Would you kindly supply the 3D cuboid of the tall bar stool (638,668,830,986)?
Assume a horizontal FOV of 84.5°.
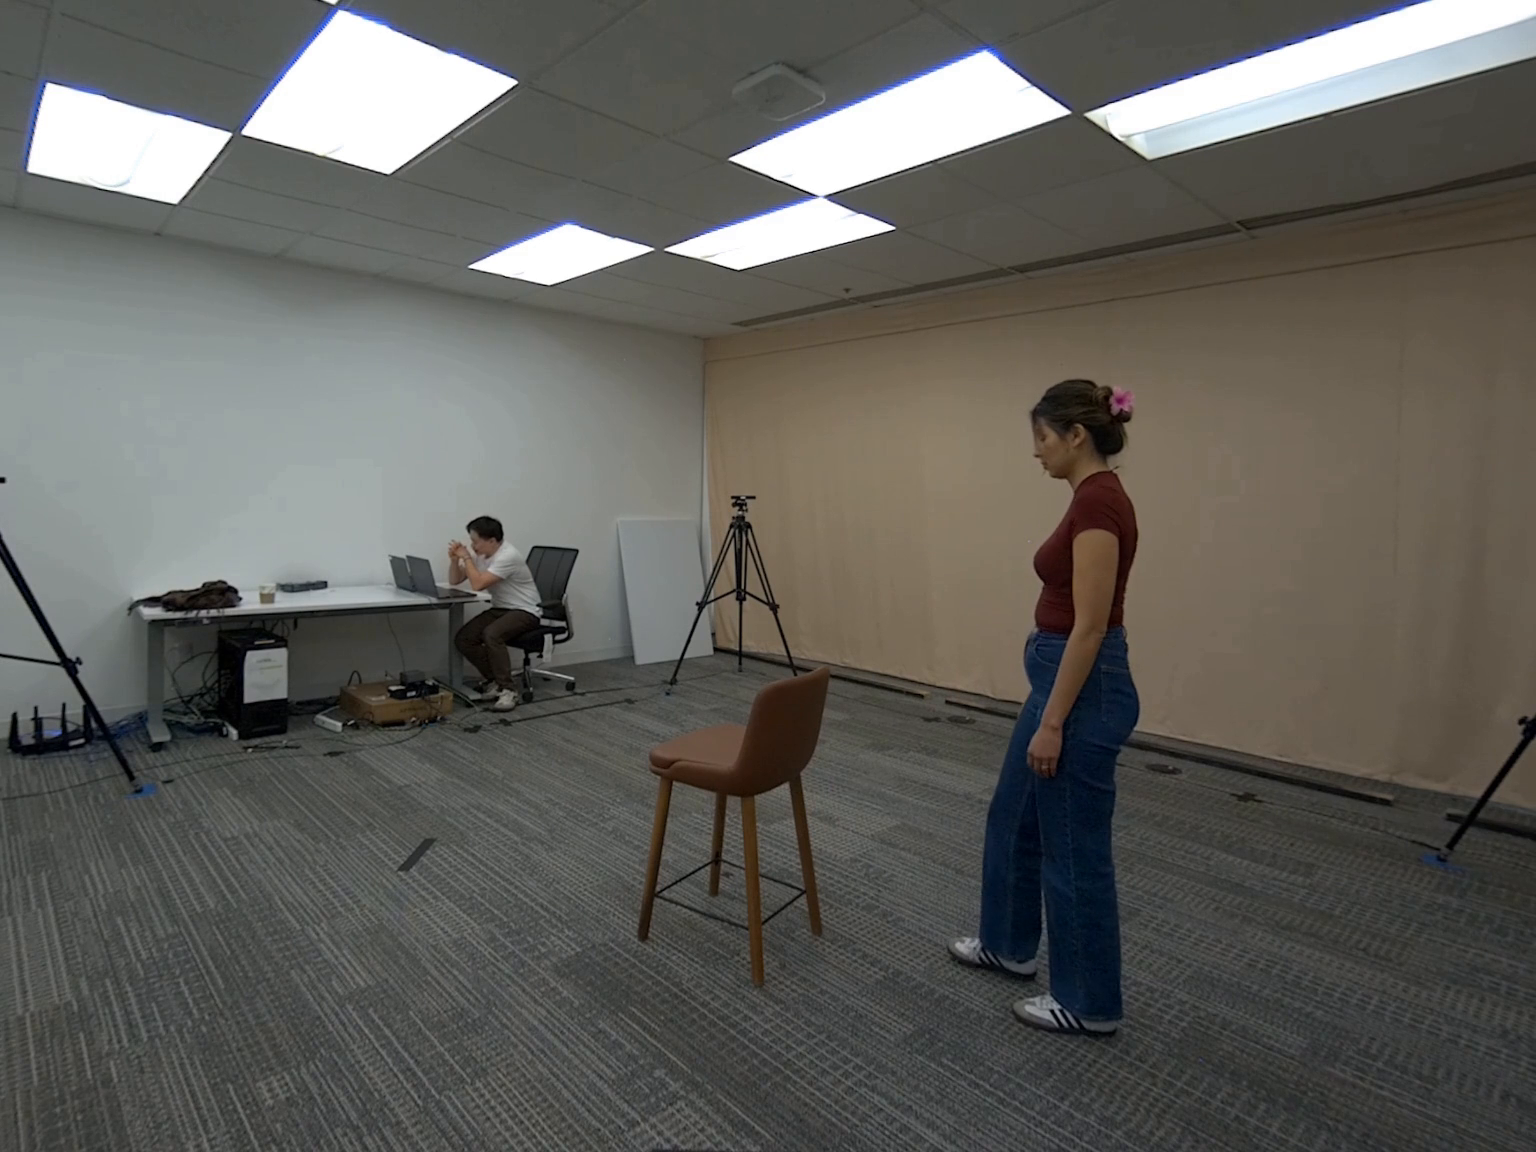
[{"bbox_3d":[-0.099,0.708,2.640,0.479,0.886,0.447,6,6,34],"label":"tall bar stool"}]
